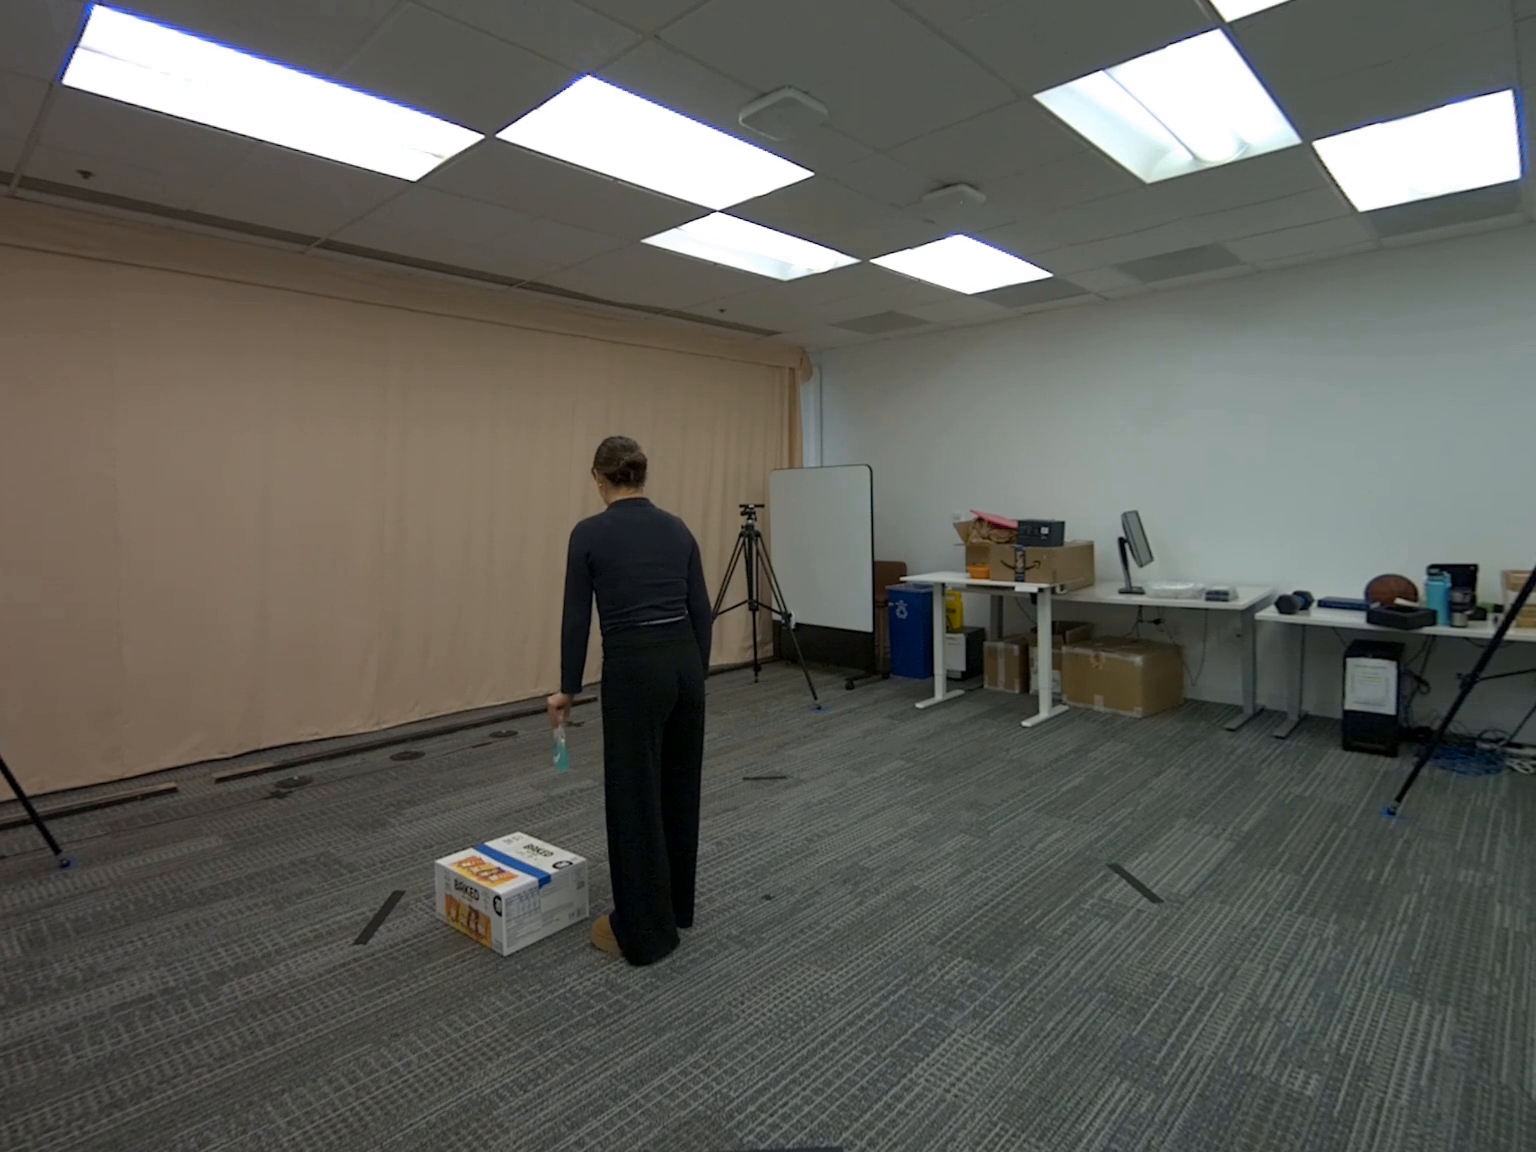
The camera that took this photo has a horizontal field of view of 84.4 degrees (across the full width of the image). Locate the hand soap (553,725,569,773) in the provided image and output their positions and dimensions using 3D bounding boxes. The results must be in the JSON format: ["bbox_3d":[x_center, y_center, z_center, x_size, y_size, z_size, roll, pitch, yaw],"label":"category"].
[{"bbox_3d":[-0.663,0.533,2.707,0.042,0.168,0.087,-4,0,-29],"label":"hand soap"}]
